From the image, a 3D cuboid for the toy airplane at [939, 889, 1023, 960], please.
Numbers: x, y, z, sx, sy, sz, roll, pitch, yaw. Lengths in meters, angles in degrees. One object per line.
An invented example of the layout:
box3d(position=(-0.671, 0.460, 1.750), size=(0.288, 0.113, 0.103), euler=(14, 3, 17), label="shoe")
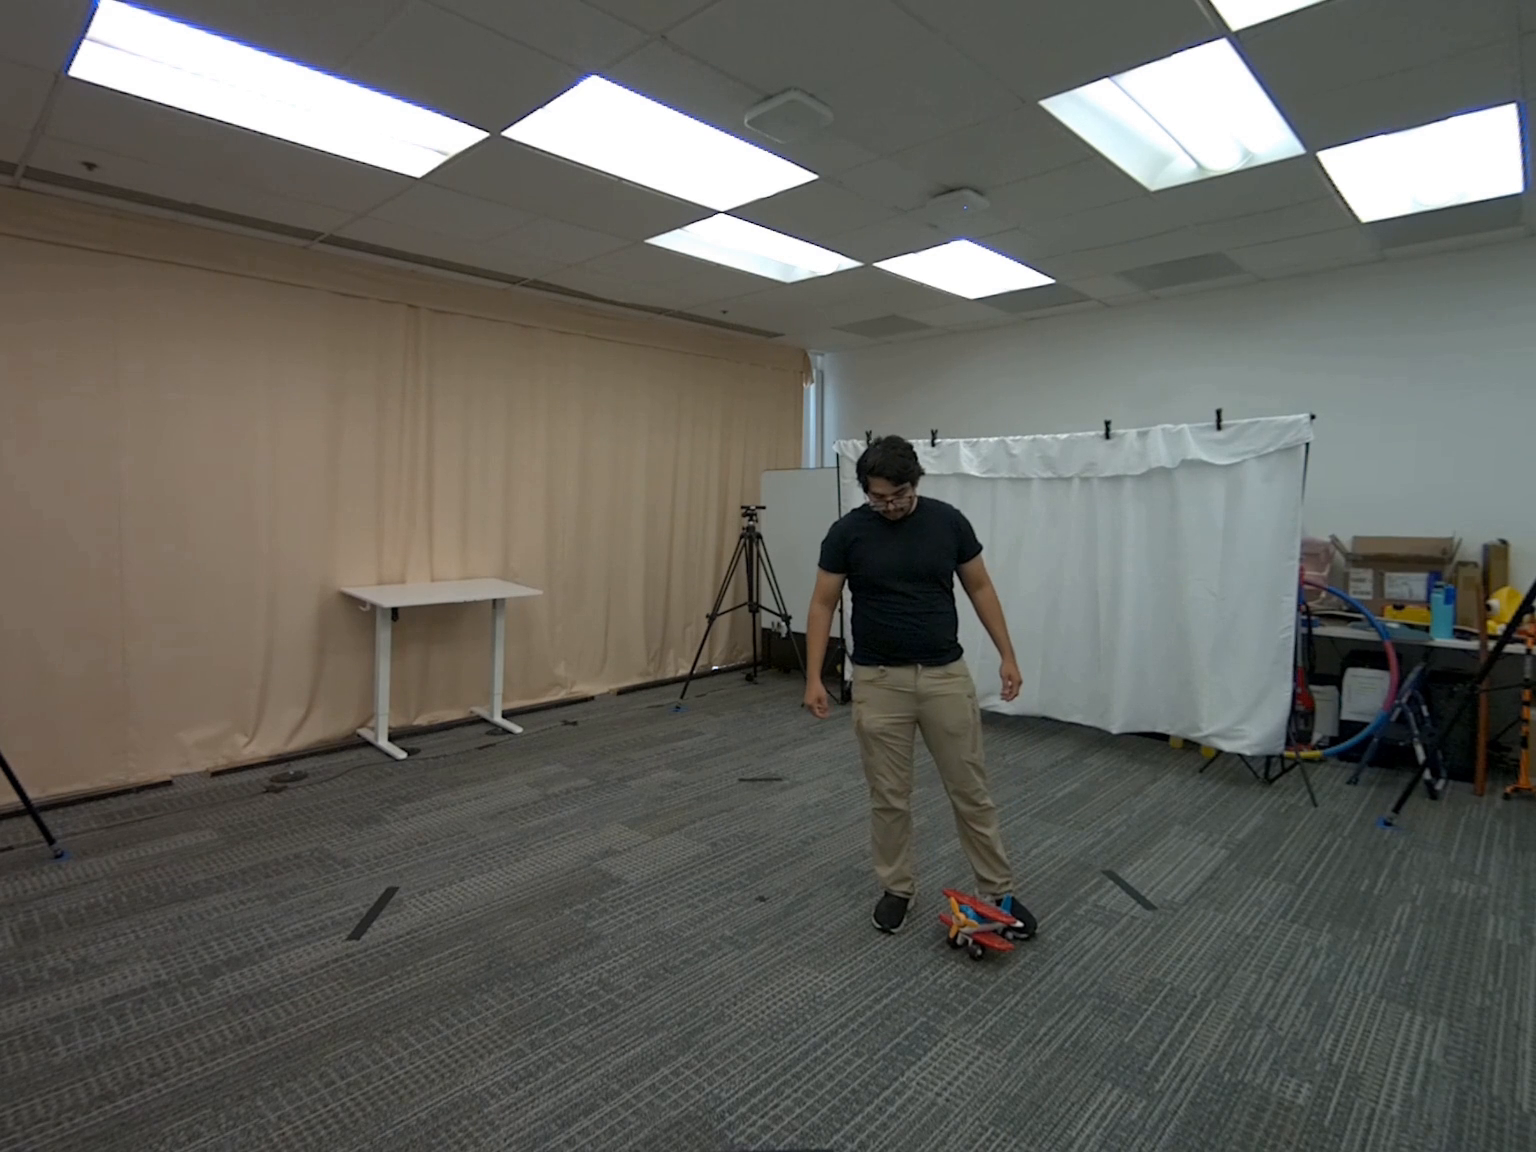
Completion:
box3d(position=(0.671, 1.095, 2.665), size=(0.257, 0.156, 0.253), euler=(3, 6, 25), label="toy airplane")
